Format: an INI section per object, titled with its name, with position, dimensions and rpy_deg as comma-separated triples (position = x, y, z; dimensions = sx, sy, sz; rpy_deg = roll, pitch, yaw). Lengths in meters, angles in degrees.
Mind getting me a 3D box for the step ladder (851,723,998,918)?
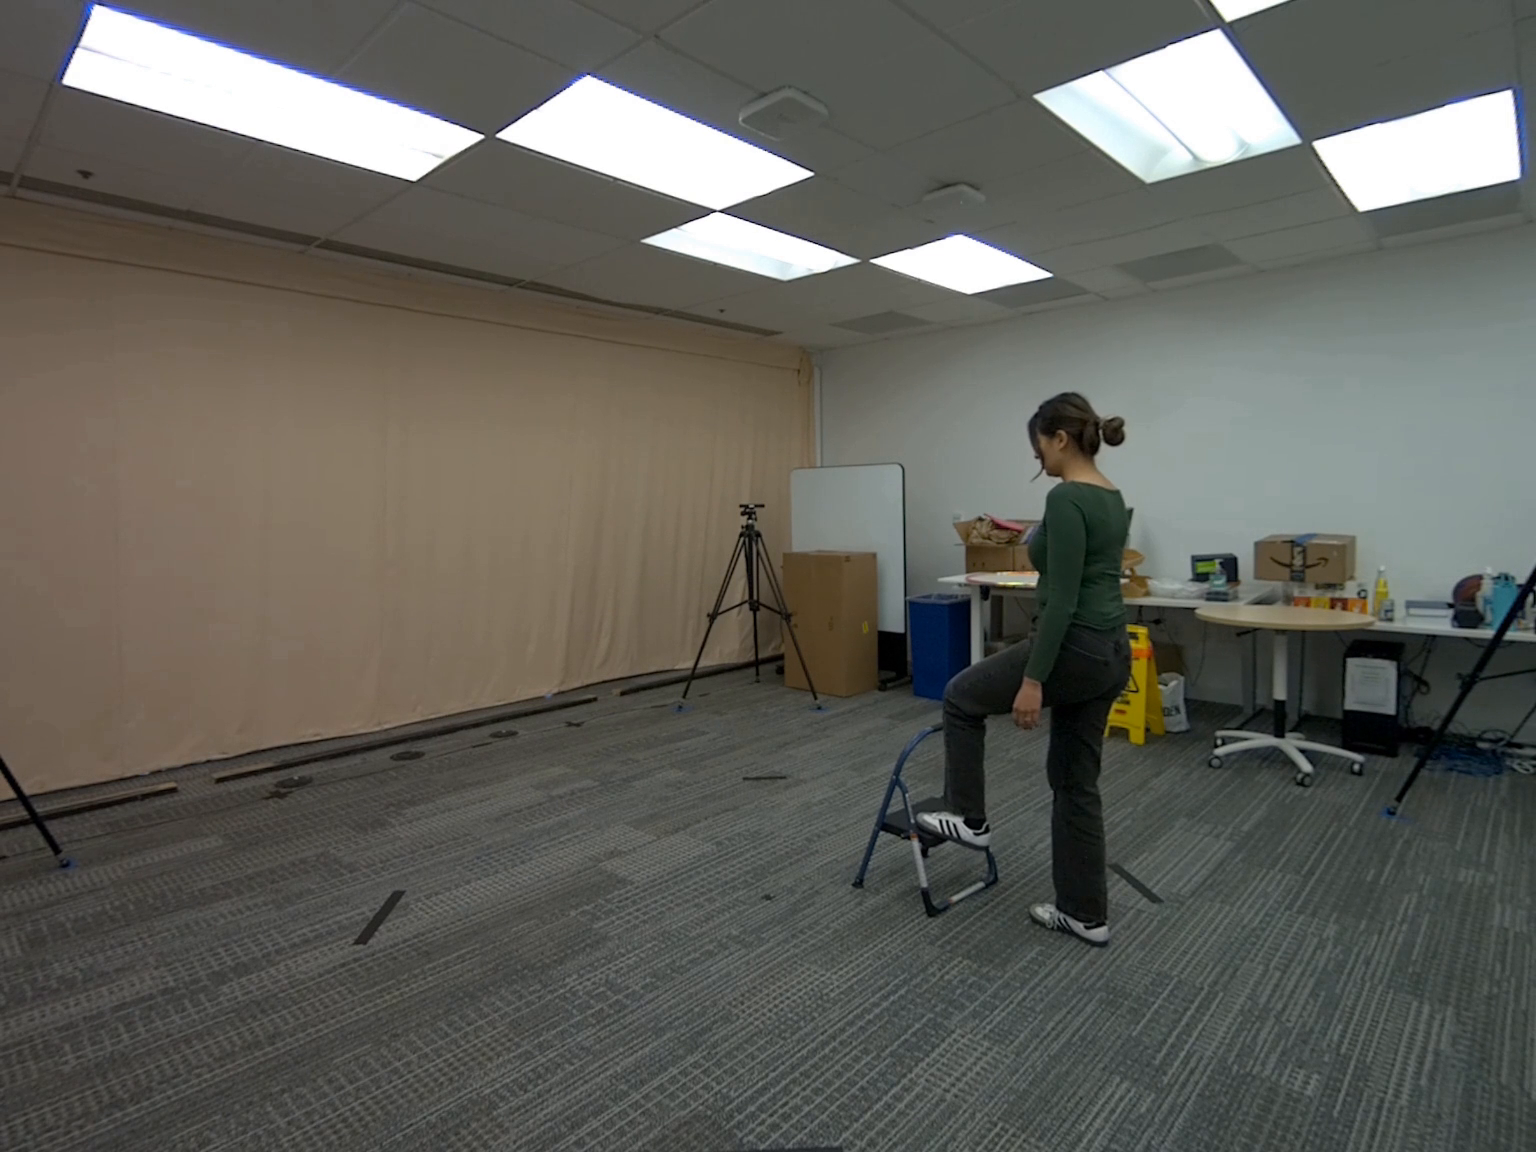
[step ladder]
position = 0.575, 0.820, 3.056
dimensions = 0.417, 0.604, 0.361
rpy_deg = -4, 5, -43
